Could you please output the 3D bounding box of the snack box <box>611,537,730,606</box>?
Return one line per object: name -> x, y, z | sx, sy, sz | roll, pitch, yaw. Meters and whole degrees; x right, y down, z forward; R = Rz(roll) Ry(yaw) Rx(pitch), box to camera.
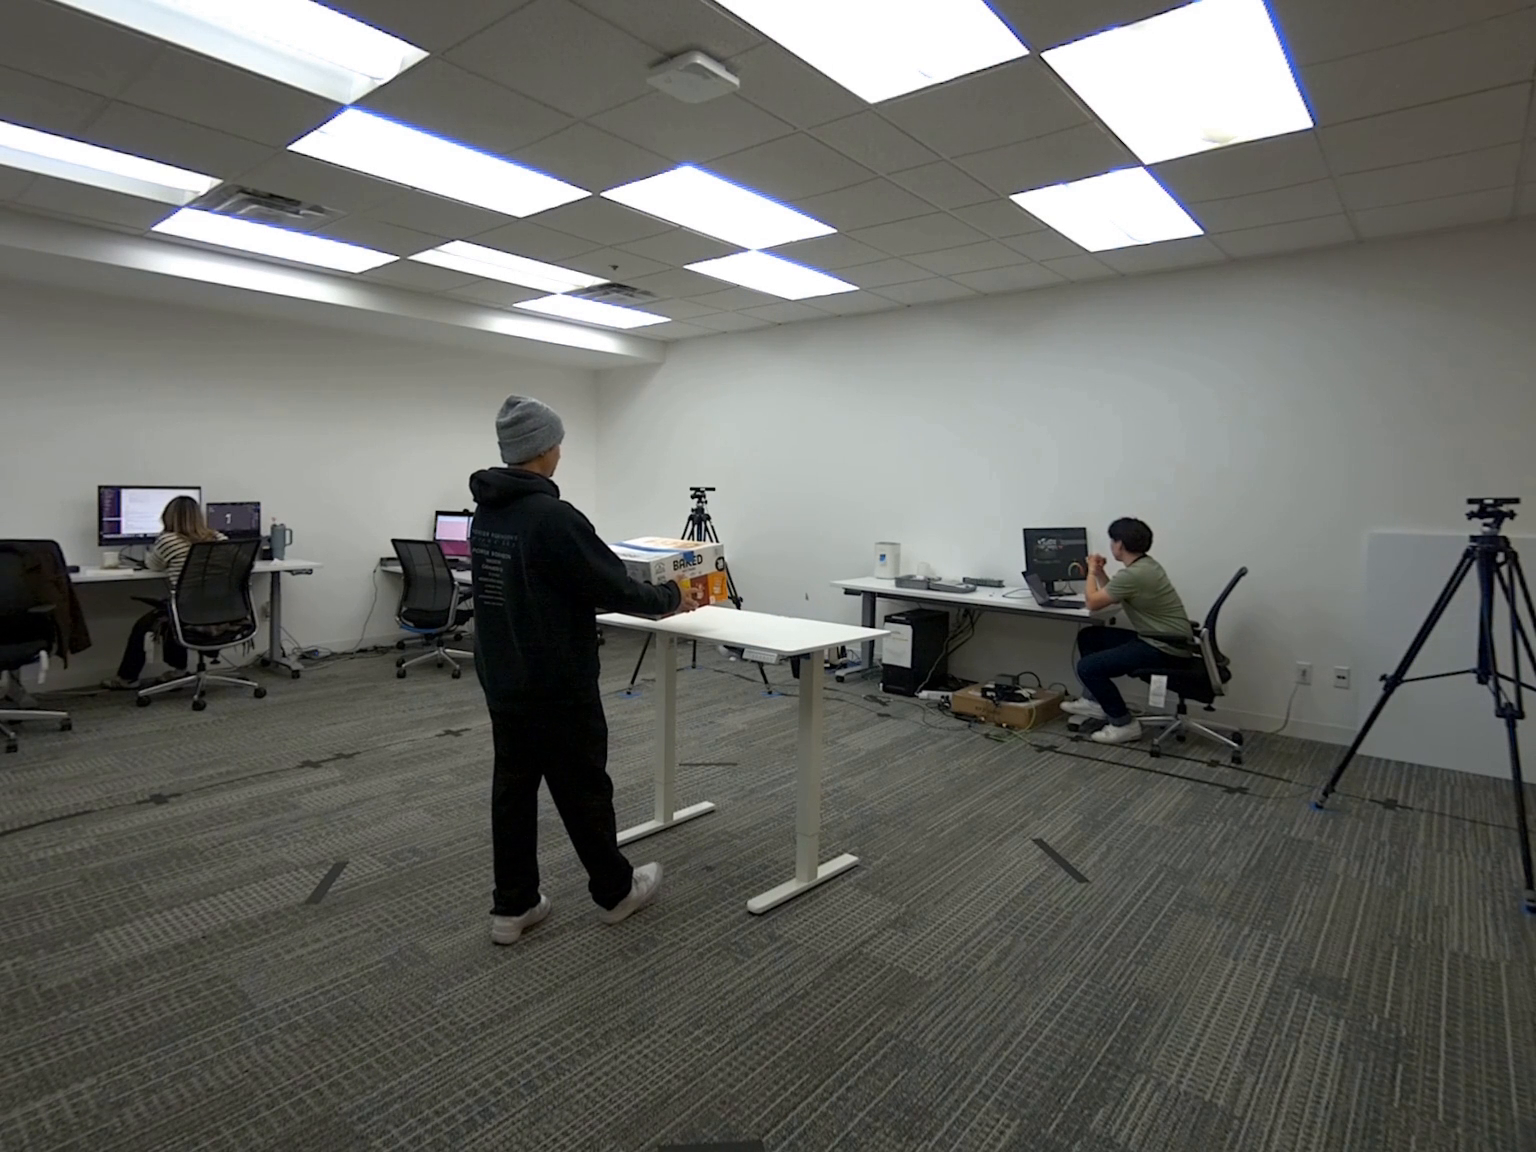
snack box -> -0.422, 0.000, 3.012 | 0.419, 0.203, 0.332 | 7, 15, 43
